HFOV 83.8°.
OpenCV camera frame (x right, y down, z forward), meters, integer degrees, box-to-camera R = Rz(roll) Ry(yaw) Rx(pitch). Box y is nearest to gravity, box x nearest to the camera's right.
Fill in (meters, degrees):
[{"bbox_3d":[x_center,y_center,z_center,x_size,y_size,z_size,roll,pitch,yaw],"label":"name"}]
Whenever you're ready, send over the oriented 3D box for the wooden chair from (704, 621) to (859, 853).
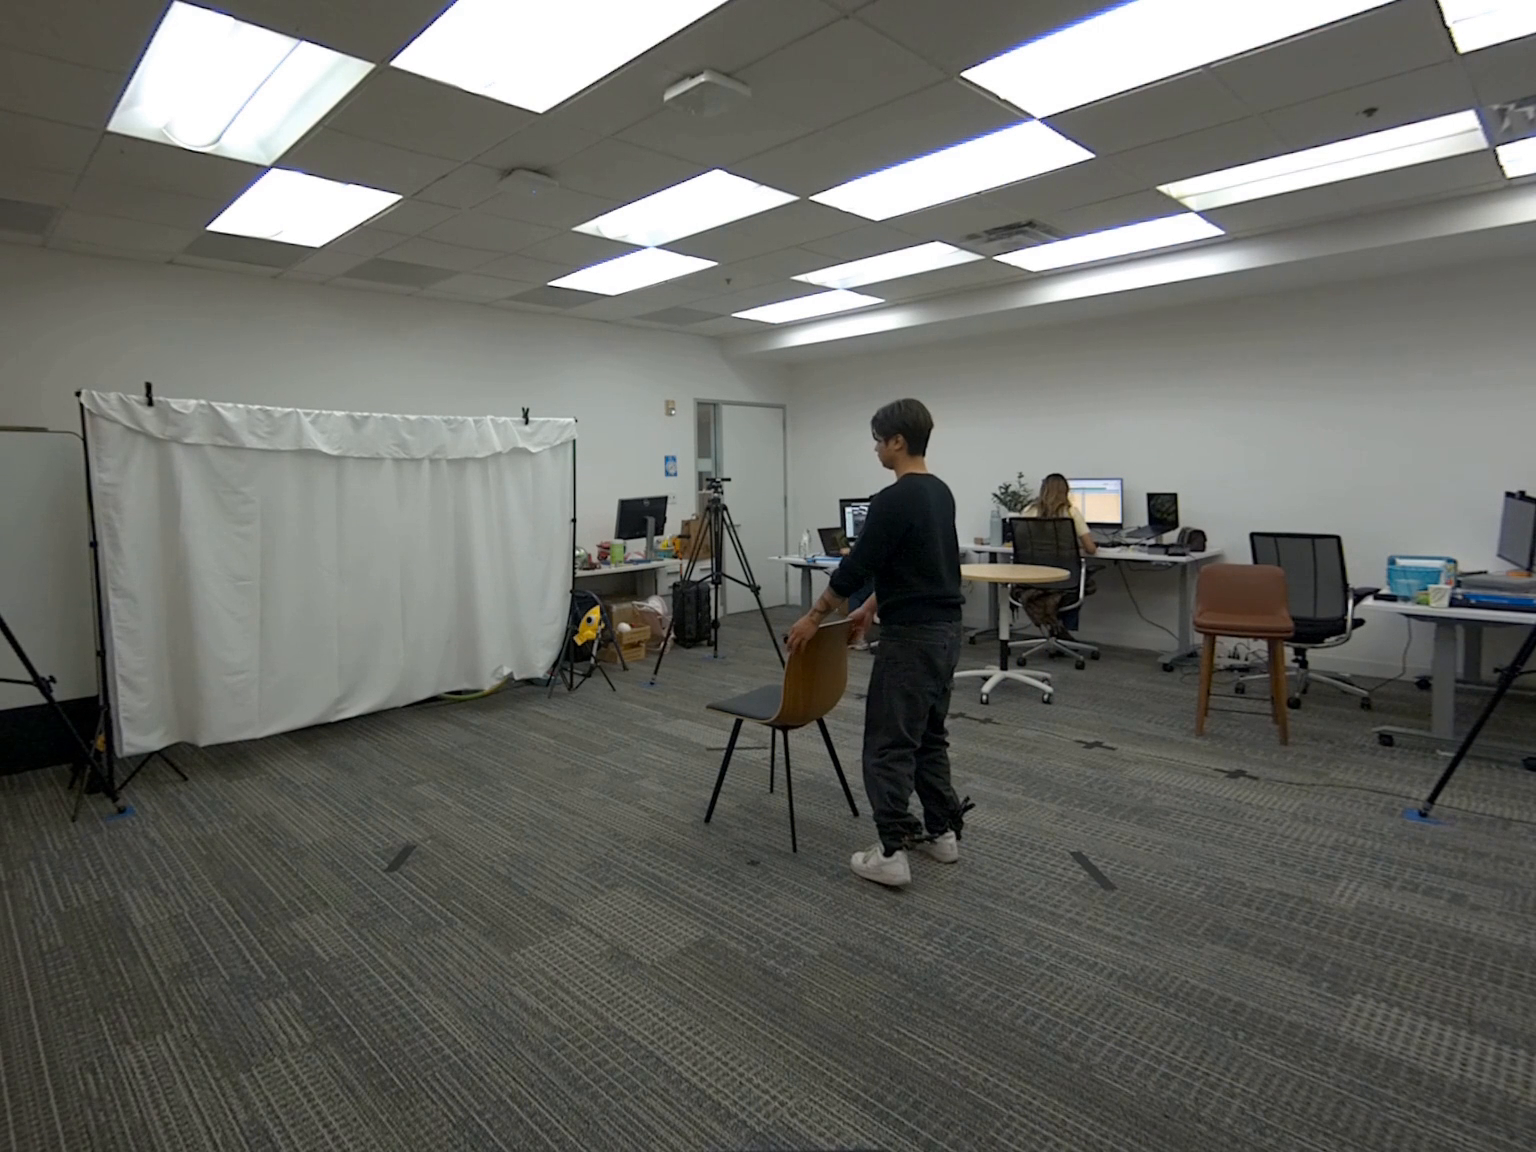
[{"bbox_3d":[0.046,0.568,3.461,0.540,0.872,0.466,9,9,38],"label":"wooden chair"}]
